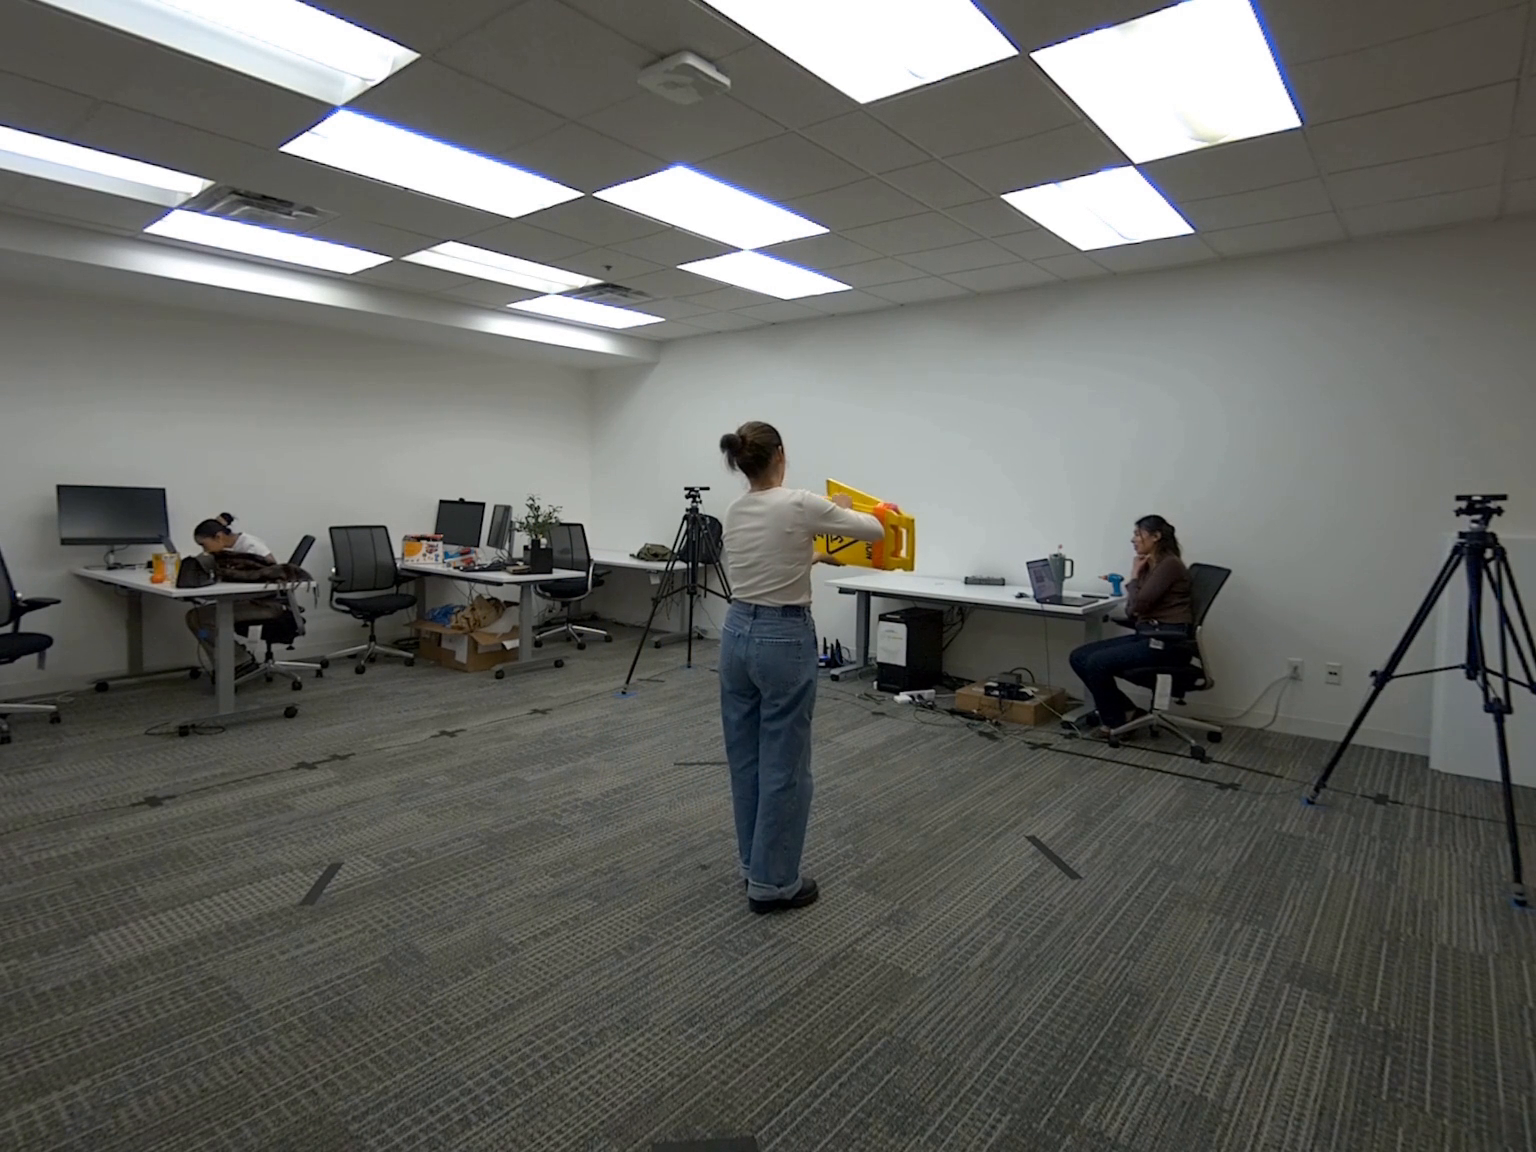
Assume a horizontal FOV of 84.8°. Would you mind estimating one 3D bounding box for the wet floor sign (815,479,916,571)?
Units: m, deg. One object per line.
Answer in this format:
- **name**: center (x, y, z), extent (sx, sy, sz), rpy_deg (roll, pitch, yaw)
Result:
- **wet floor sign**: center (0.310, -0.183, 3.206), extent (0.283, 0.278, 0.670), rpy_deg (-13, 19, -32)
